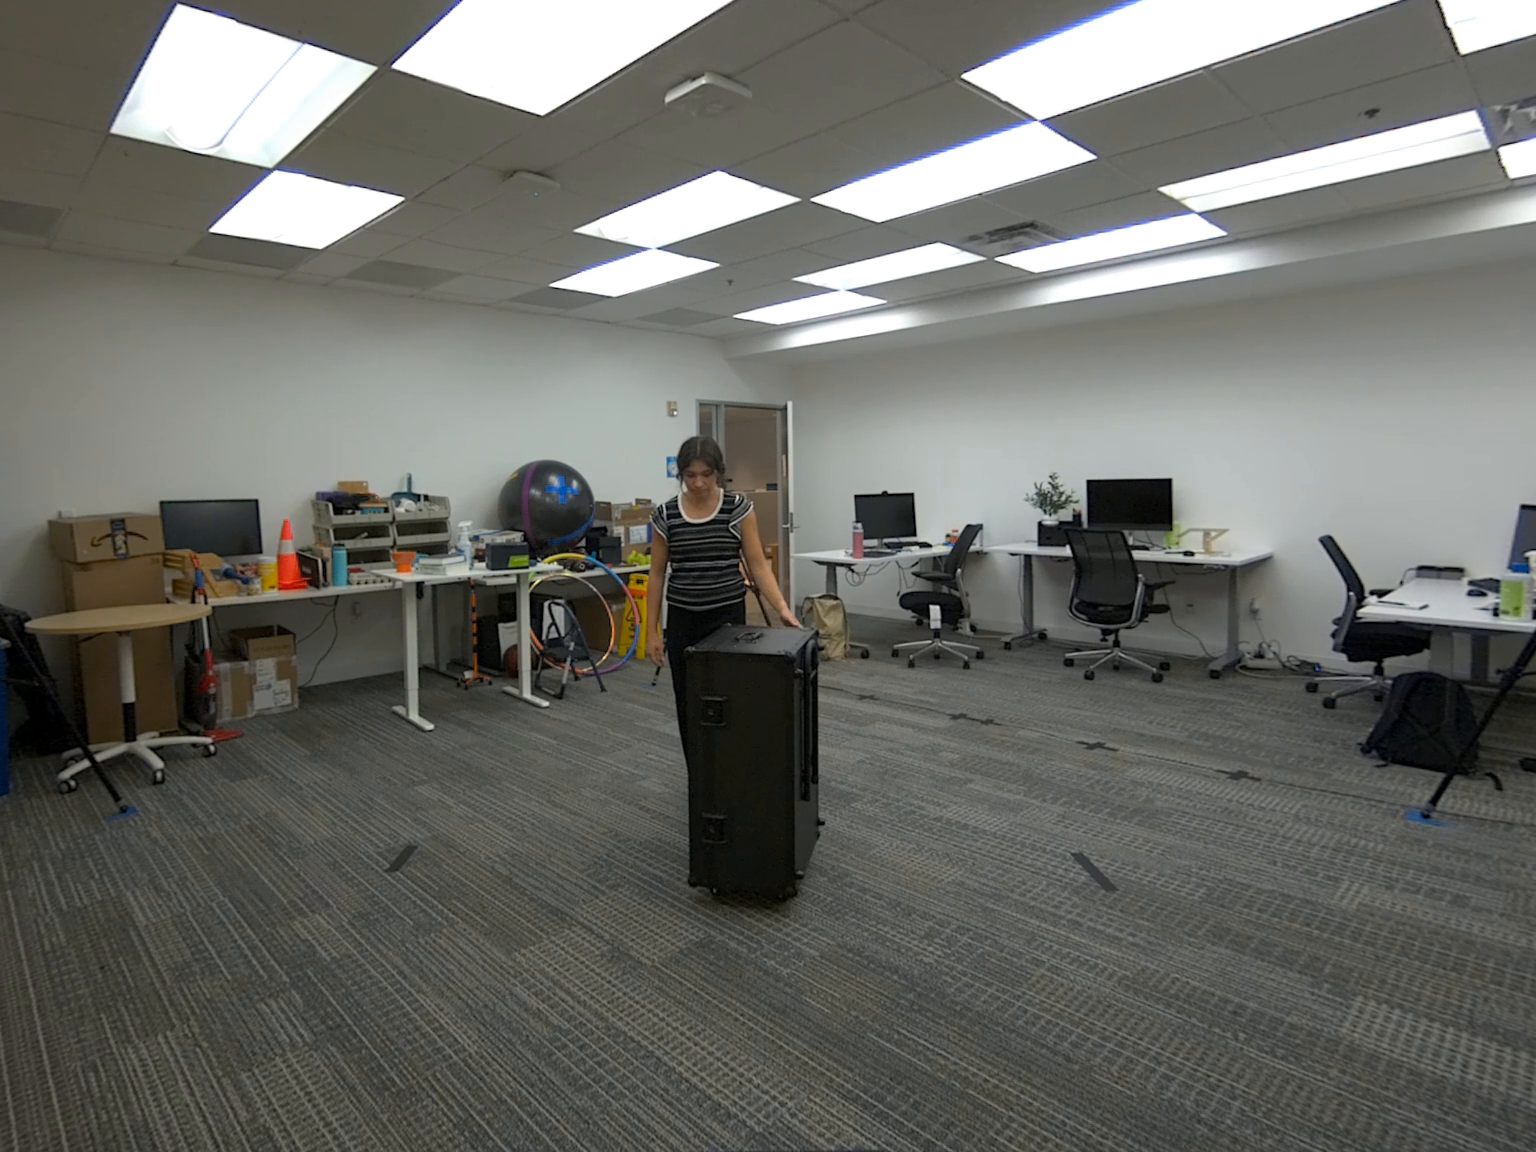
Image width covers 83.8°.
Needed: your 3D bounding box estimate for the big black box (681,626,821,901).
[{"bbox_3d":[-0.021,0.637,2.954,0.402,0.858,0.516,1,5,14],"label":"big black box"}]
